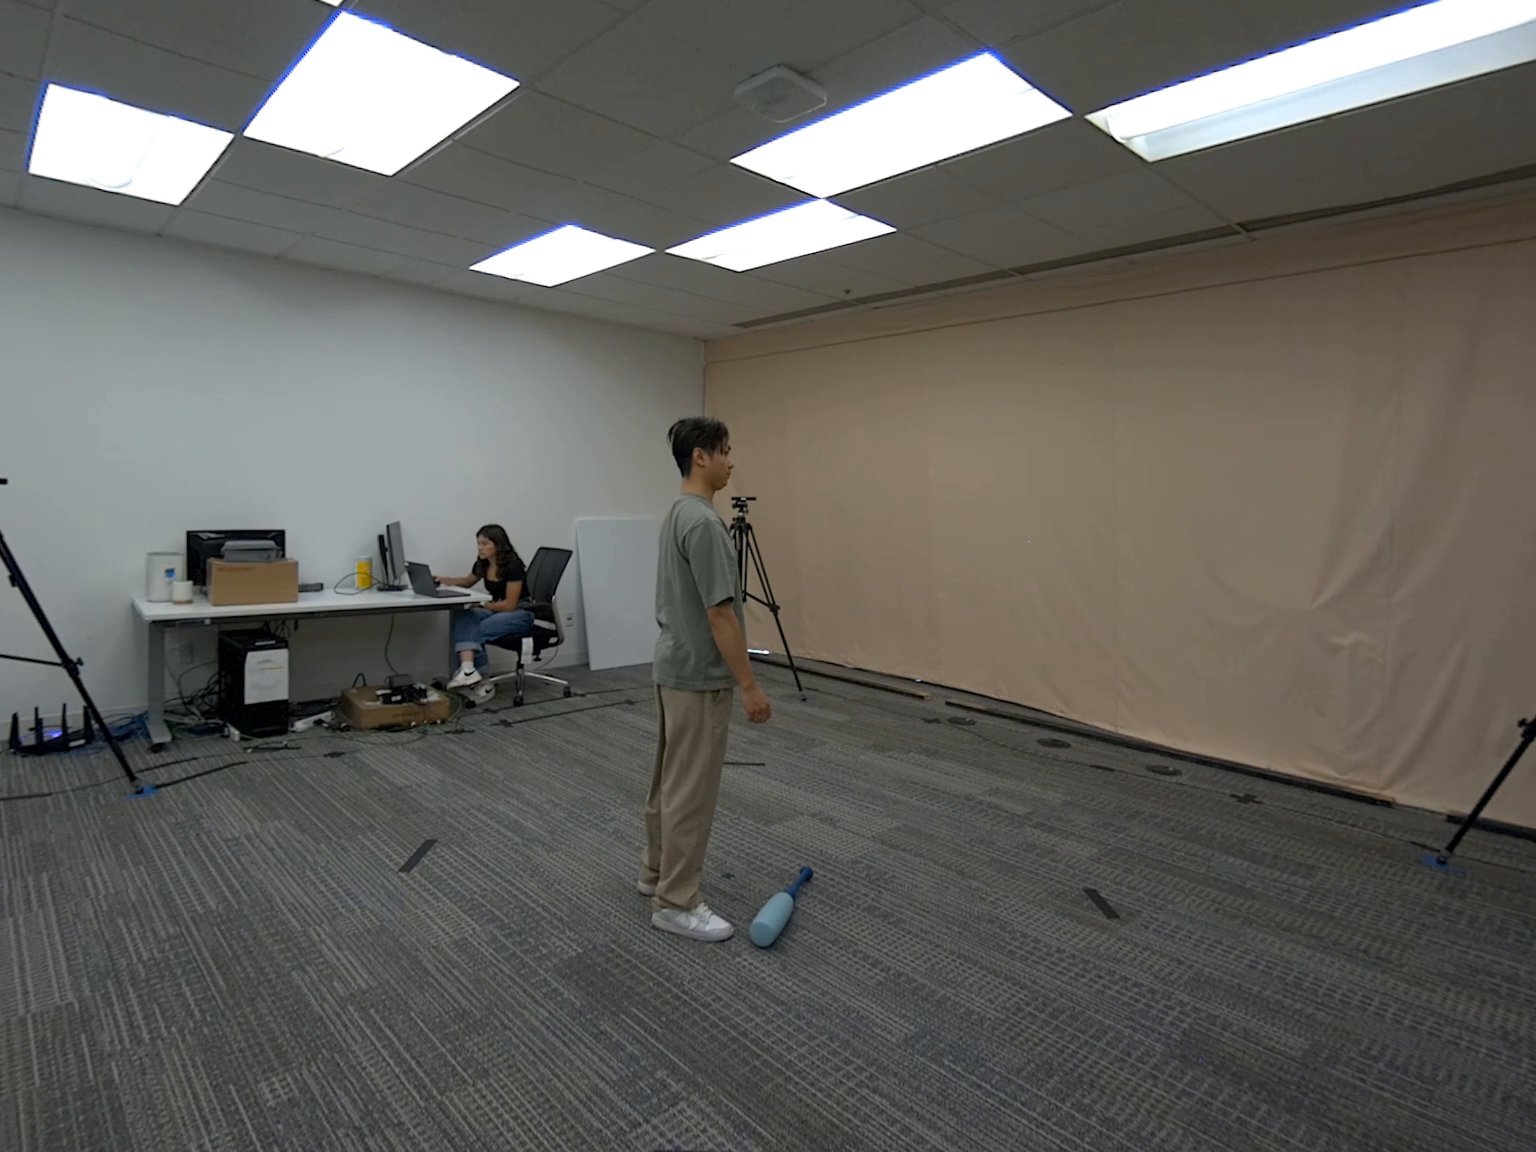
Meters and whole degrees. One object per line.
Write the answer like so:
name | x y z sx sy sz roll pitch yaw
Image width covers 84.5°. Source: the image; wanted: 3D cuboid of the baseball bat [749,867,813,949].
baseball bat | 0.050 1.093 2.841 0.090 0.089 0.536 3 3 17
